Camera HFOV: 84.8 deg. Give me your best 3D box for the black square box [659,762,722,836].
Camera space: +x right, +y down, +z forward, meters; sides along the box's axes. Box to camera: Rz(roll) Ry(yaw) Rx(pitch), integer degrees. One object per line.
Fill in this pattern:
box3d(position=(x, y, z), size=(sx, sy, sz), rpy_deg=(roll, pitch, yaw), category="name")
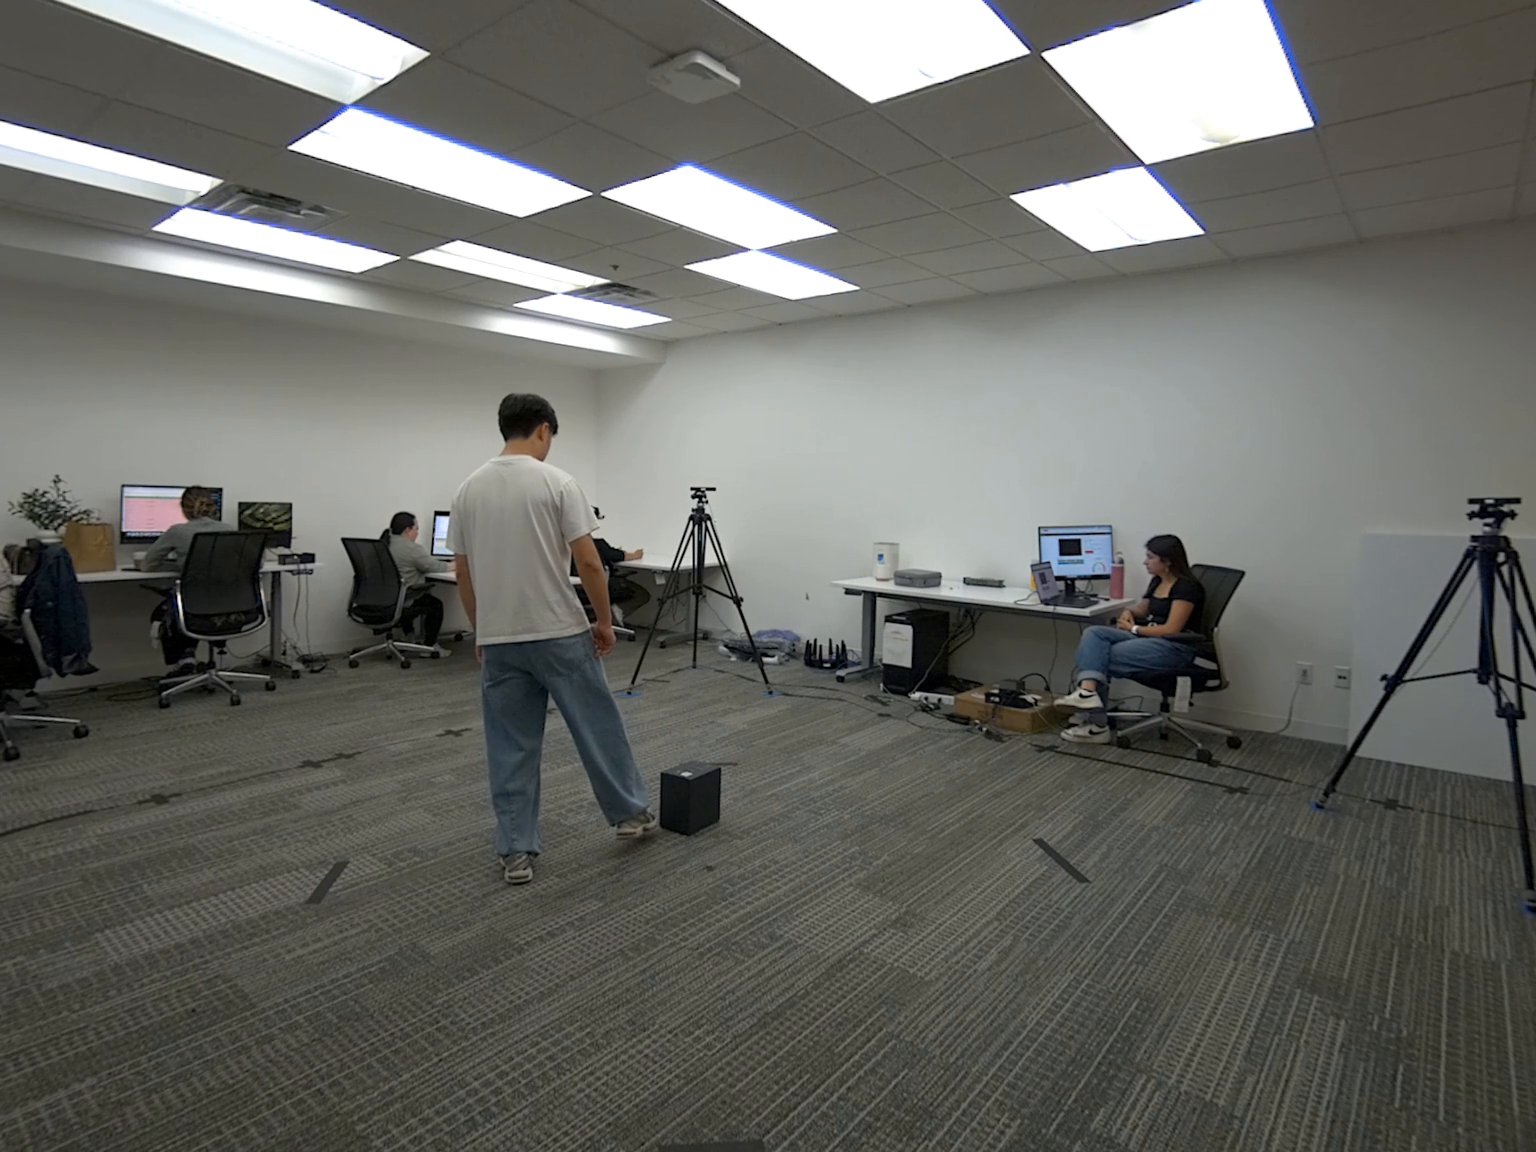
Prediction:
box3d(position=(-0.334, 0.902, 3.512), size=(0.161, 0.227, 0.211), rpy_deg=(4, 5, 34), category="black square box")
